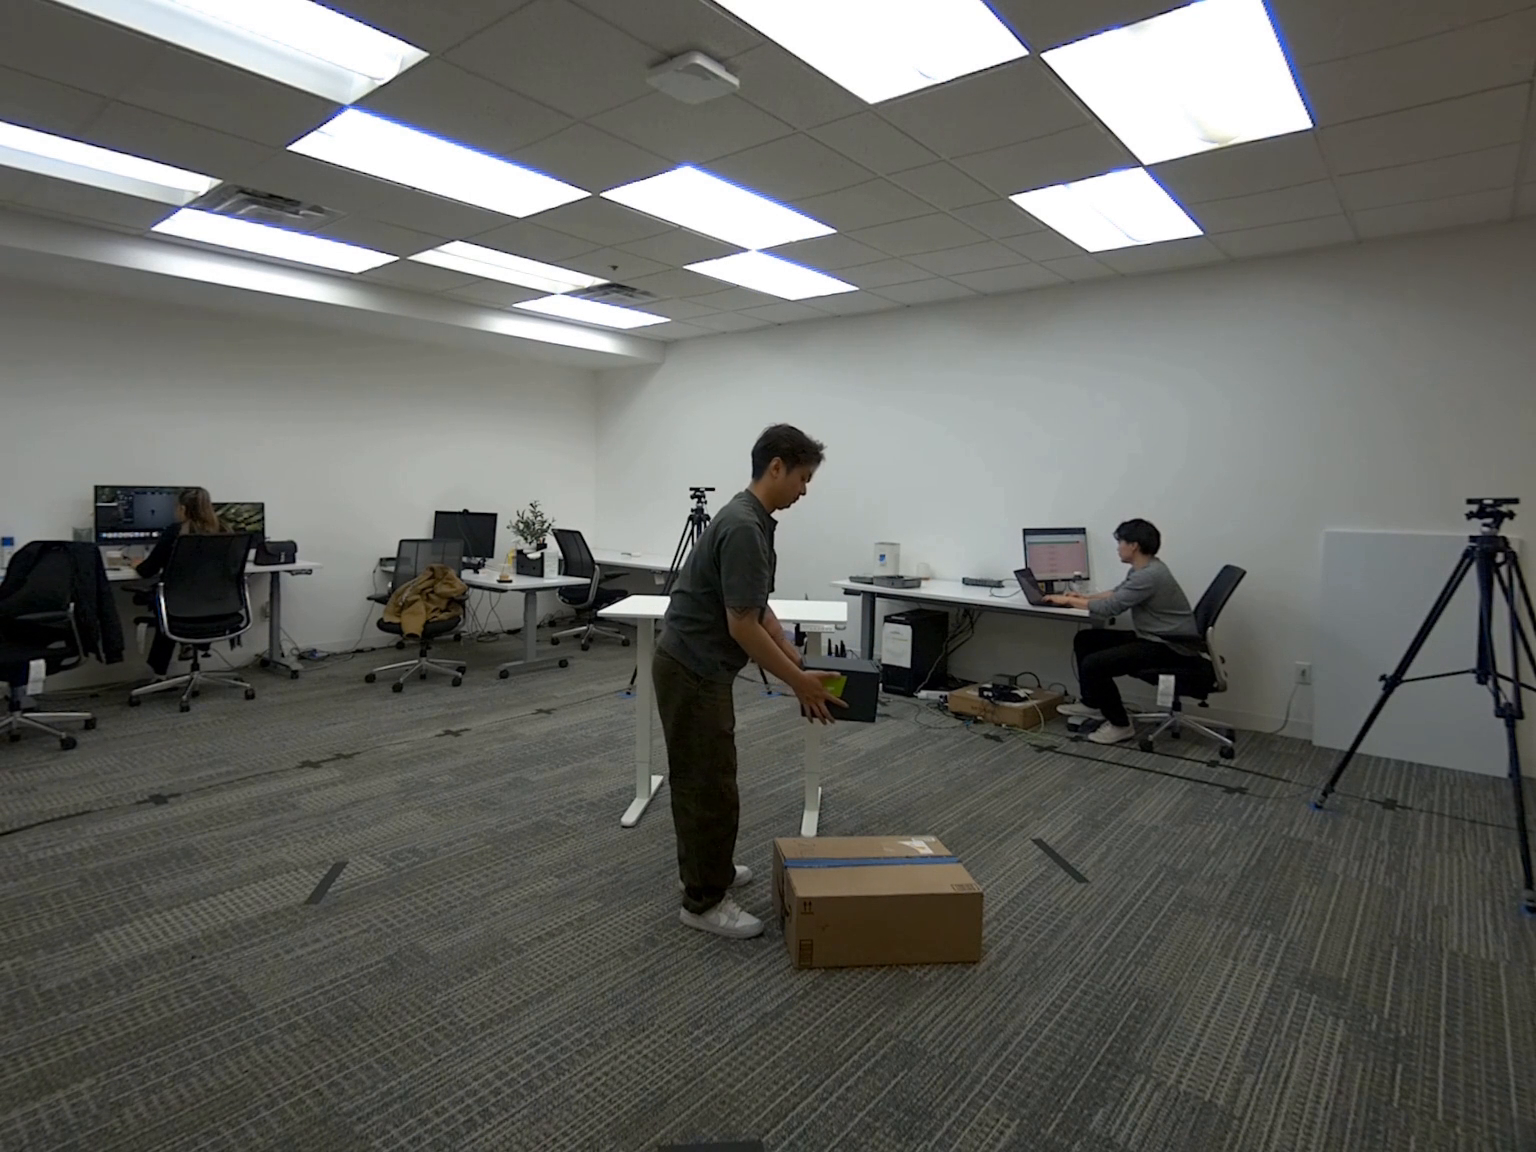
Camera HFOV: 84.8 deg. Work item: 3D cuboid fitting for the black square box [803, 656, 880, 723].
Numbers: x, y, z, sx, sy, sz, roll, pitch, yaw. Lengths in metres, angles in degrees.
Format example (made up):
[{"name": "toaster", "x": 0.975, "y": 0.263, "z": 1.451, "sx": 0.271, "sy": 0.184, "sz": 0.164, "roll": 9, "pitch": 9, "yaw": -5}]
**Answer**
[{"name": "black square box", "x": 0.218, "y": 0.347, "z": 2.673, "sx": 0.229, "sy": 0.155, "sz": 0.216, "roll": 4, "pitch": 5, "yaw": 5}]
